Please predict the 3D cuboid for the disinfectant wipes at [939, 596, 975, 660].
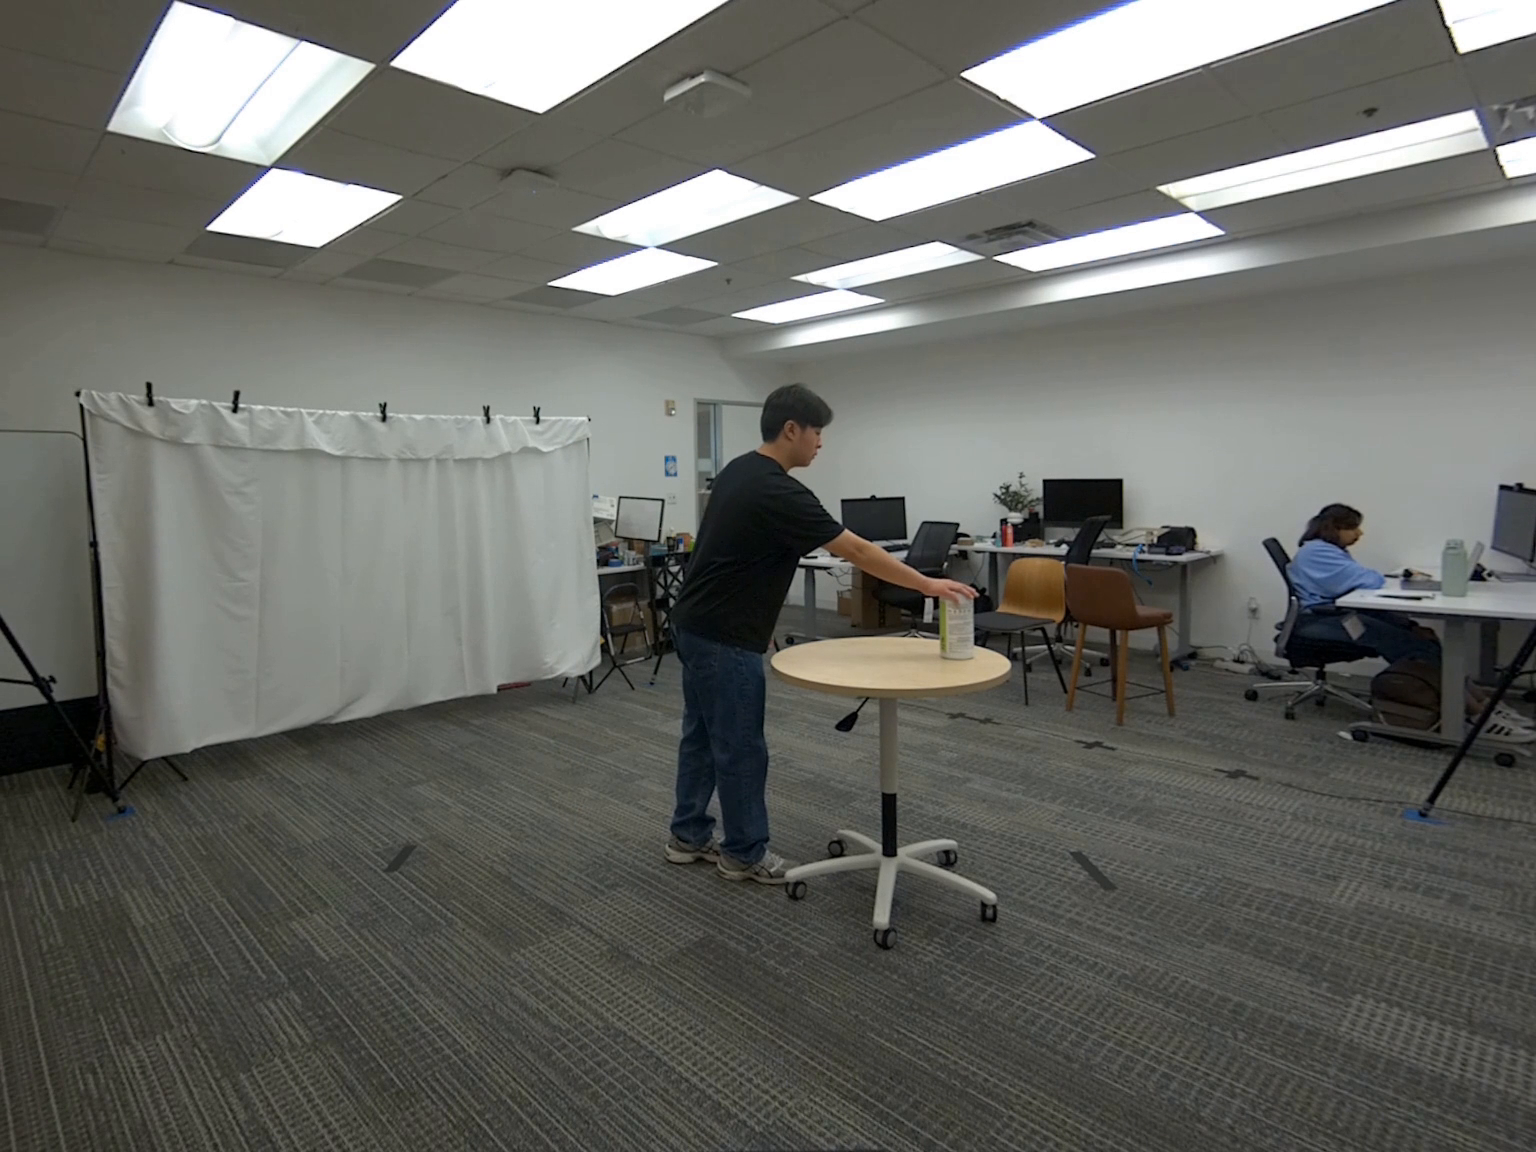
[{"bbox_3d":[0.623,0.161,2.802,0.118,0.216,0.118,-1,5,-2],"label":"disinfectant wipes"}]
